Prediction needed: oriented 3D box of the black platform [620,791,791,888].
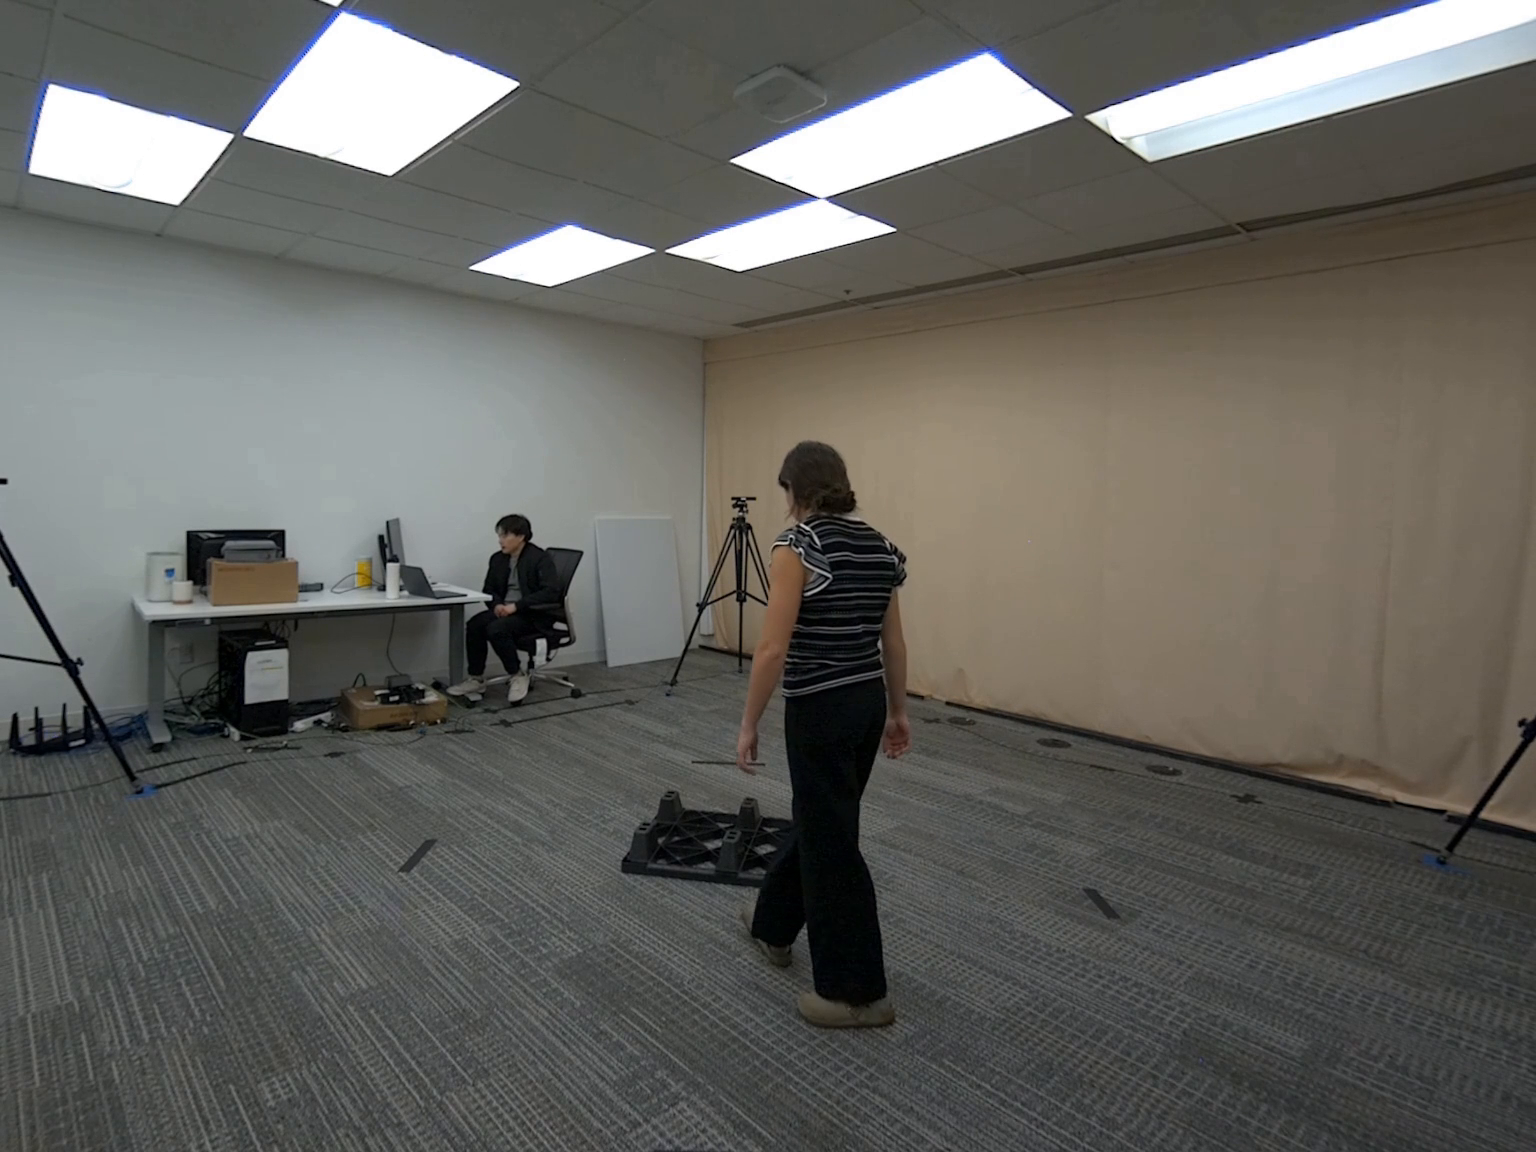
[{"bbox_3d":[-0.114,1.020,3.326,0.812,0.143,0.602,2,5,10],"label":"black platform"}]
